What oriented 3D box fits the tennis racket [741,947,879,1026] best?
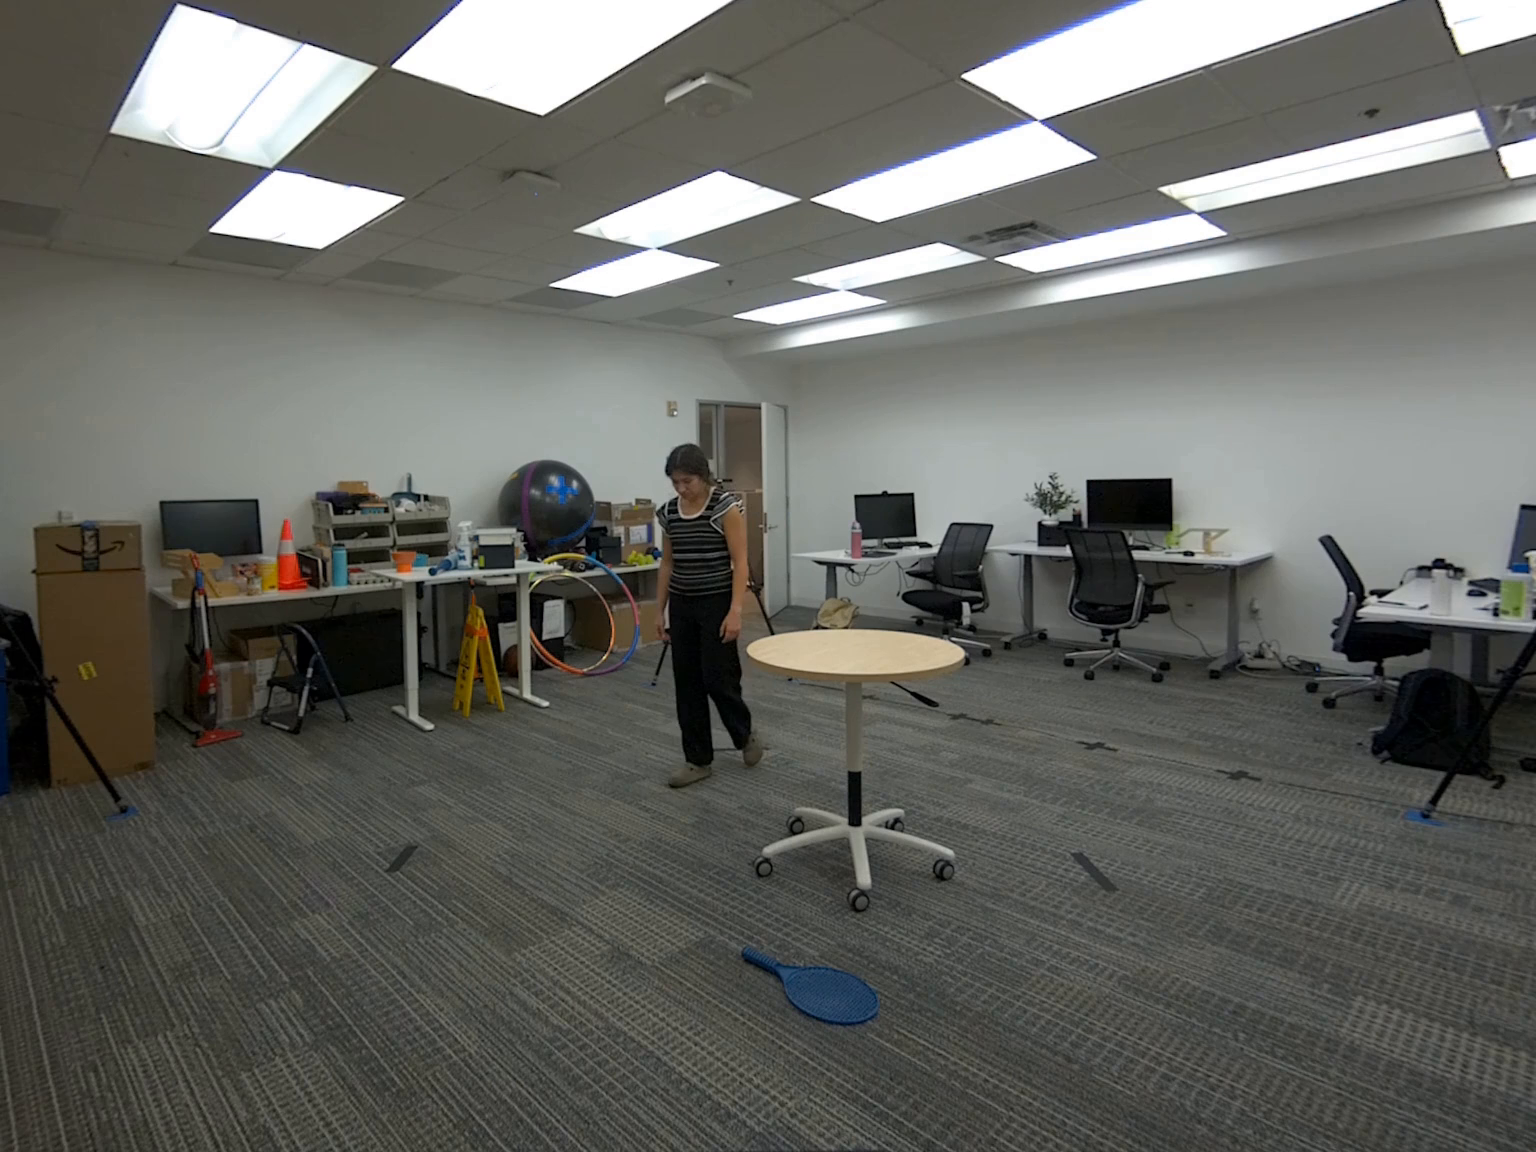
[{"bbox_3d":[0.107,1.120,2.348,0.446,0.031,0.208,6,10,38],"label":"tennis racket"}]
